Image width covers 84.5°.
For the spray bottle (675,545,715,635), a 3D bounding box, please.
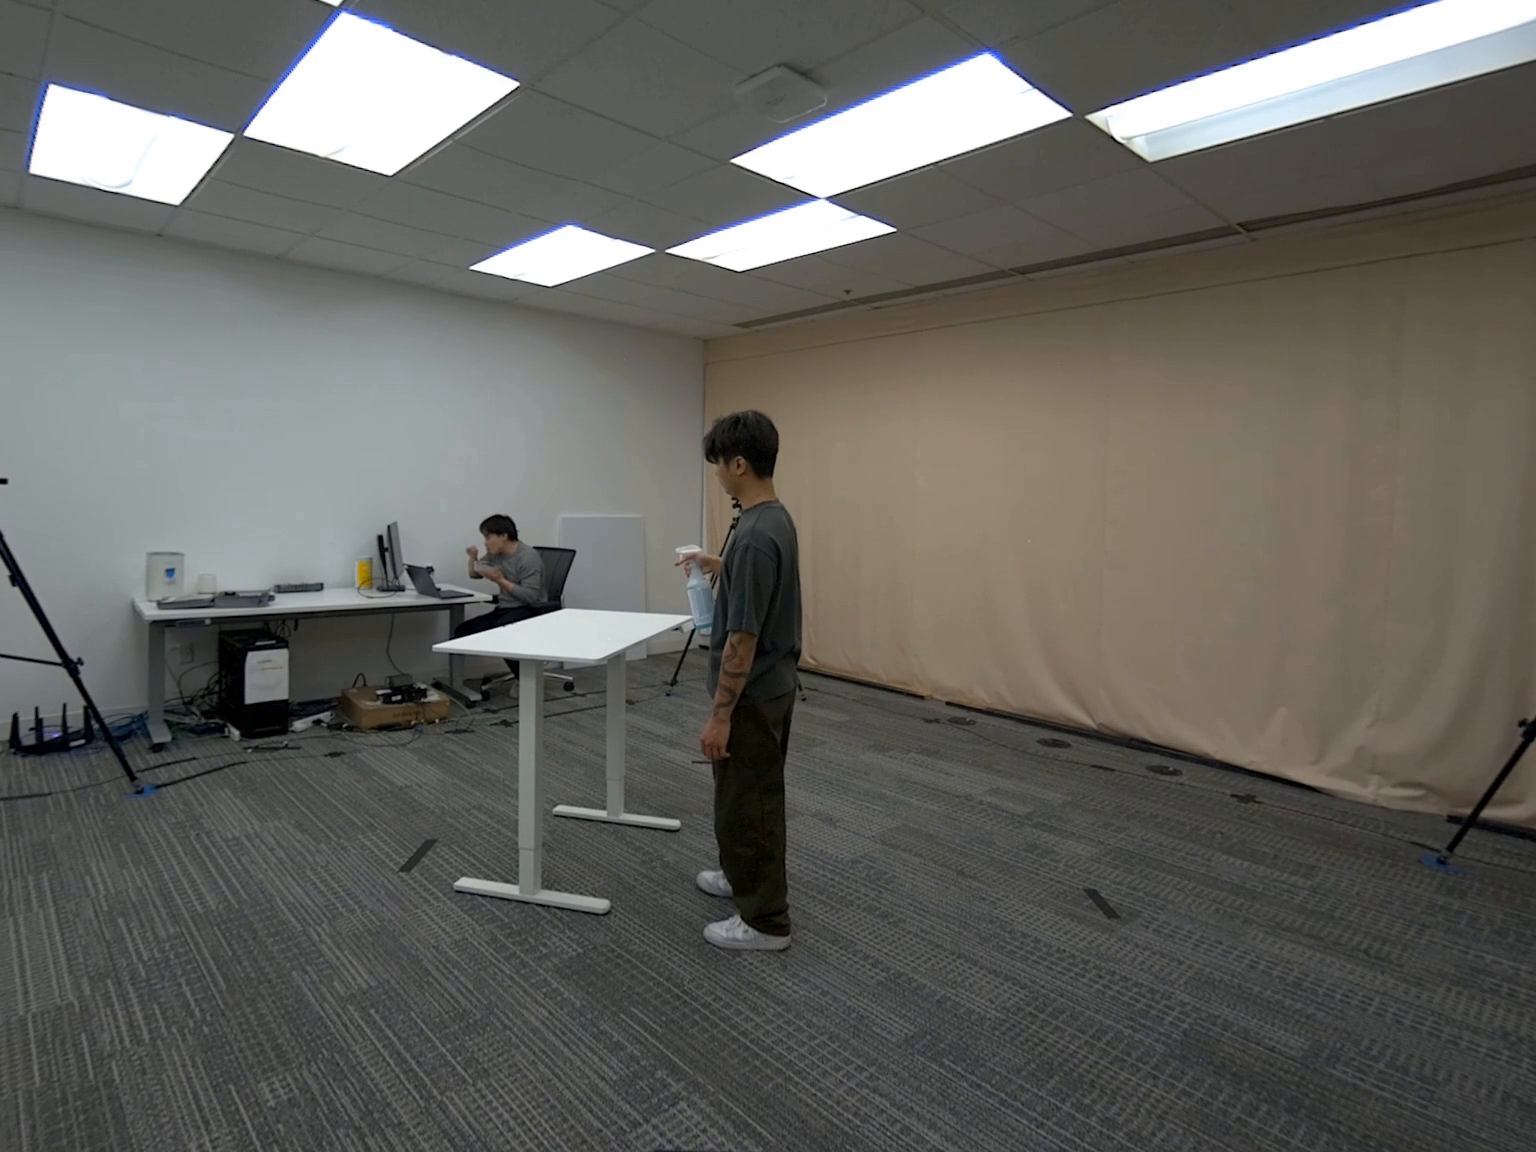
[{"bbox_3d":[-0.248,0.039,2.963,0.091,0.297,0.086,-14,0,28],"label":"spray bottle"}]
